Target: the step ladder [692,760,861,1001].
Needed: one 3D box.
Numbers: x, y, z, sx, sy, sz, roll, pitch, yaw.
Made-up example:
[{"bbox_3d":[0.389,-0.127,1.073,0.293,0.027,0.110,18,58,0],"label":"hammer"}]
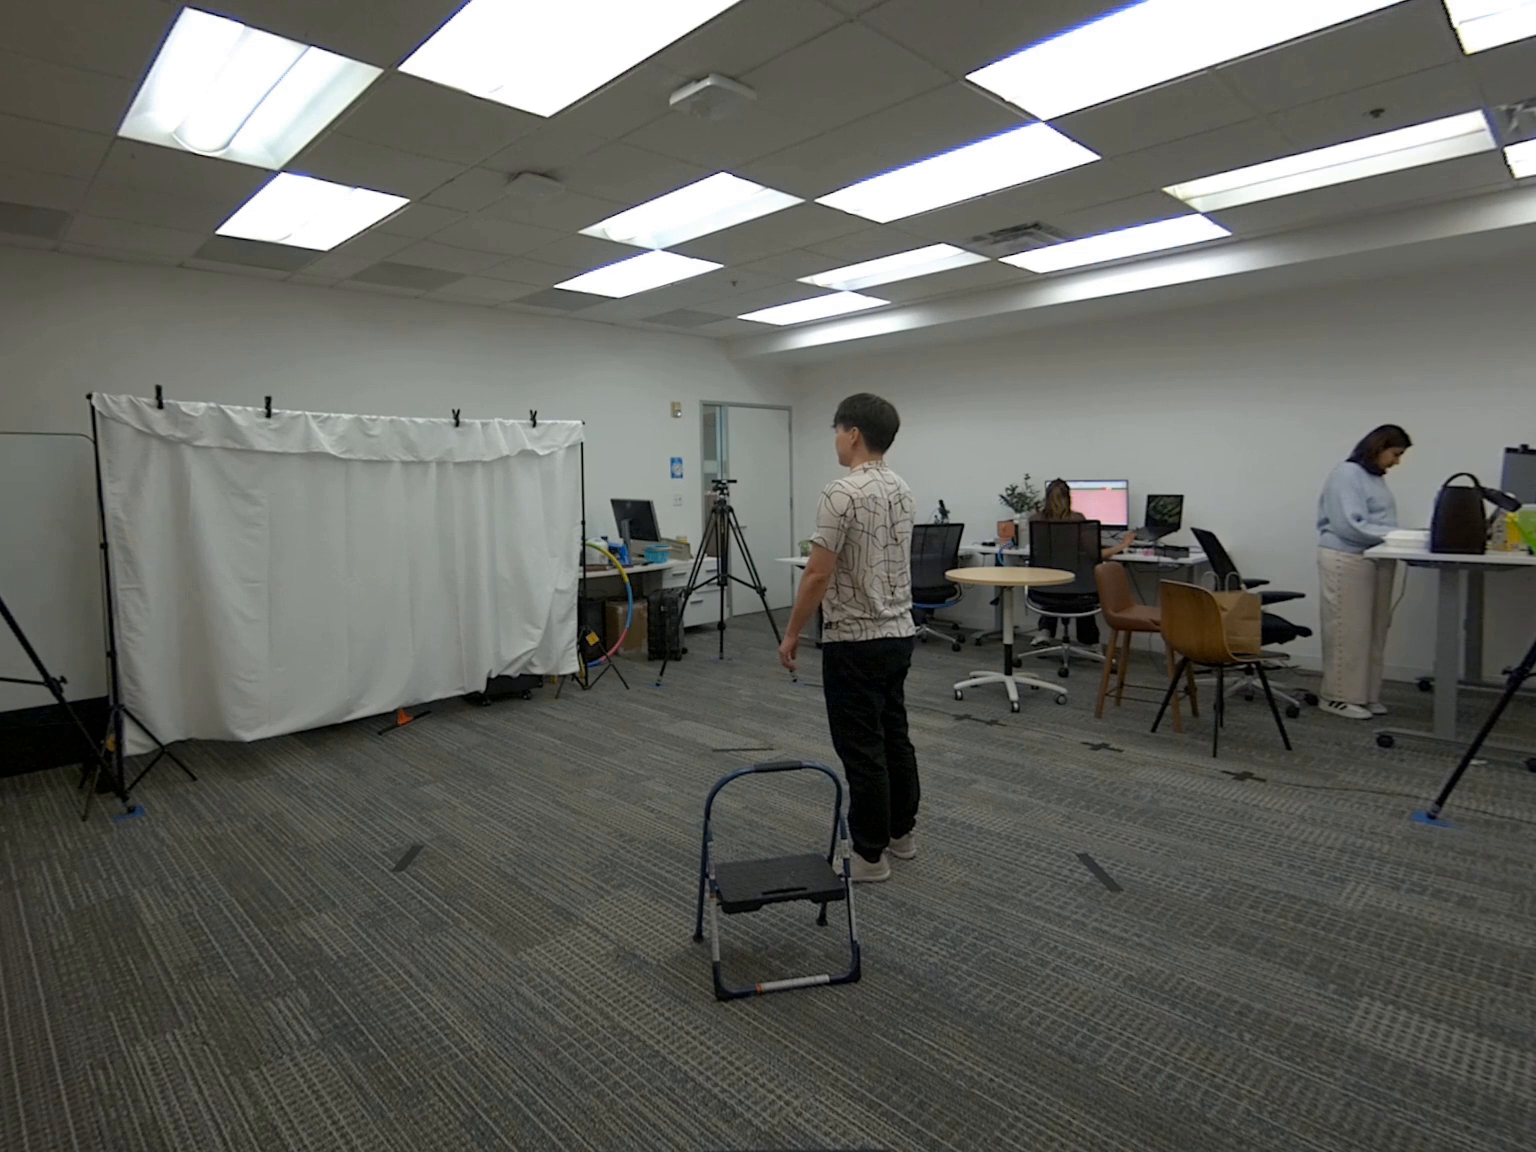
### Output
[{"bbox_3d":[0.017,0.815,2.477,0.425,0.604,0.355,-2,5,-13],"label":"step ladder"}]
